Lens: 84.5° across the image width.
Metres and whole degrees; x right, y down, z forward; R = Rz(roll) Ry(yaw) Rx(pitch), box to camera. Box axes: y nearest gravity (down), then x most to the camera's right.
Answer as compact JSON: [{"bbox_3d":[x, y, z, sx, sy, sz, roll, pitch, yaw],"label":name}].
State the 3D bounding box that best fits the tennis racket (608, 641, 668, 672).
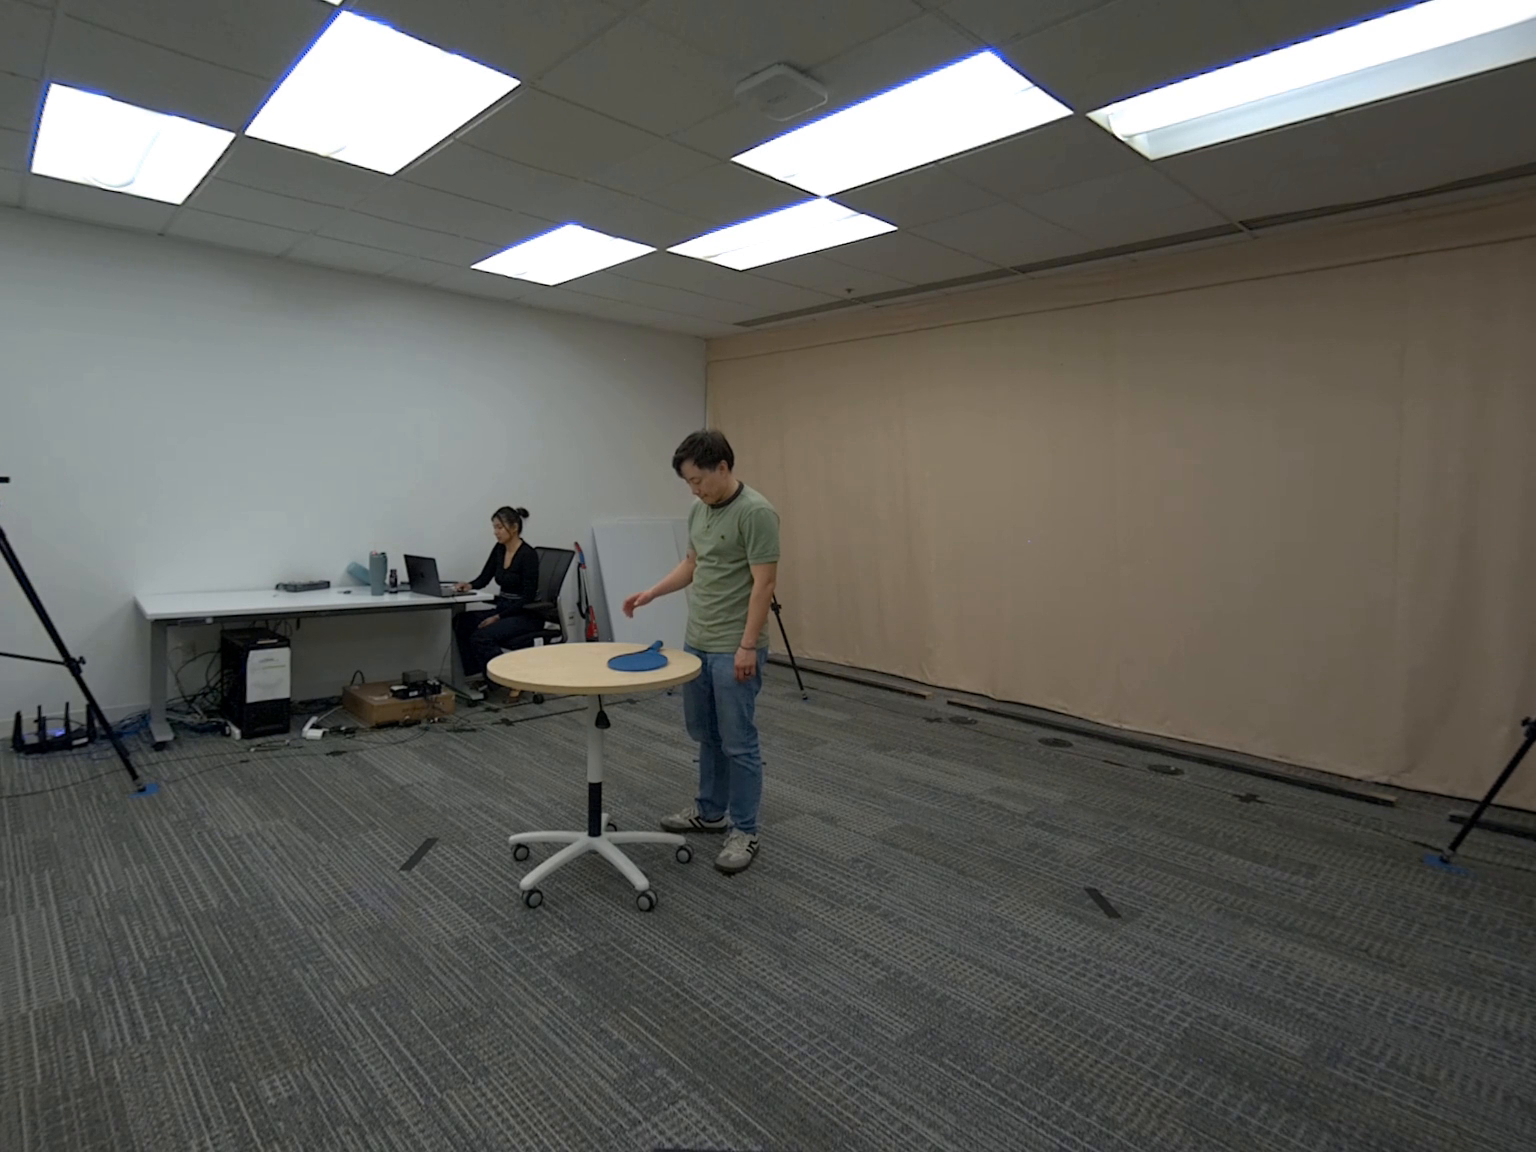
[{"bbox_3d":[-0.456,0.298,3.109,0.216,0.031,0.431,2,7,10],"label":"tennis racket"}]
